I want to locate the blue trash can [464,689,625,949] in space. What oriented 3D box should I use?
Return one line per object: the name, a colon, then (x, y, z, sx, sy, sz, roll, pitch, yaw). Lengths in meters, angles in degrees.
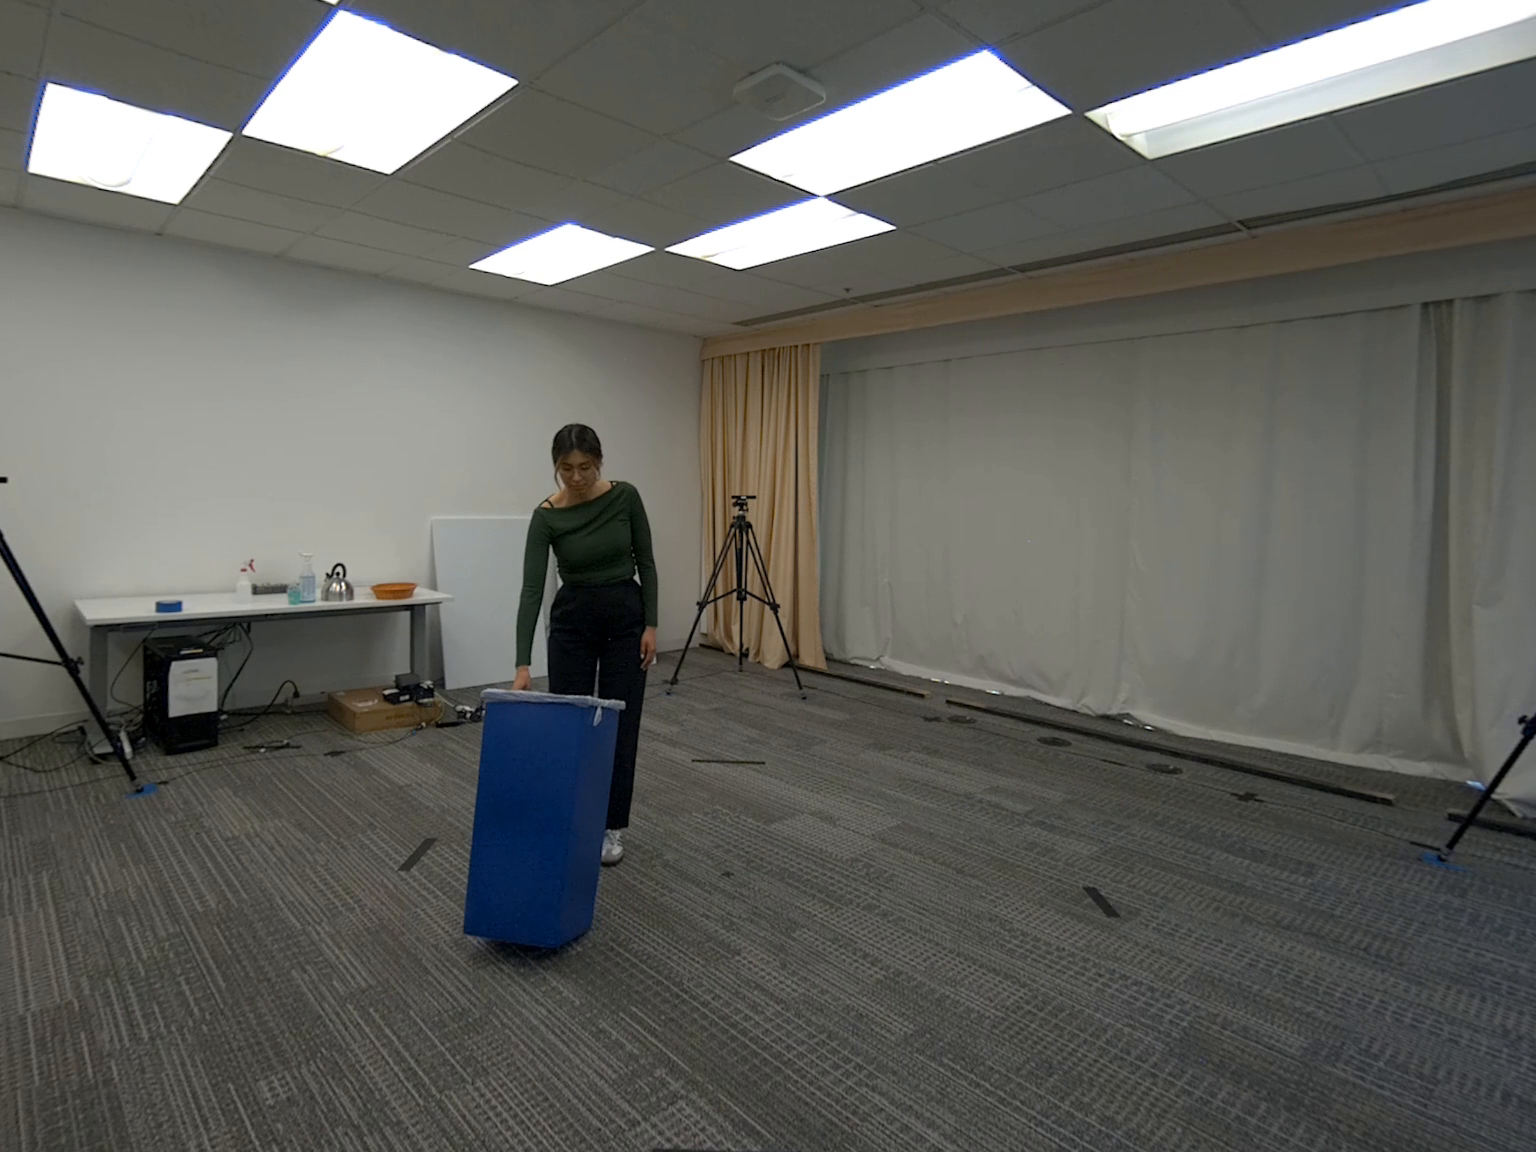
blue trash can: (-0.721, 0.748, 2.667, 0.381, 0.720, 0.368, 2, -13, 8)
